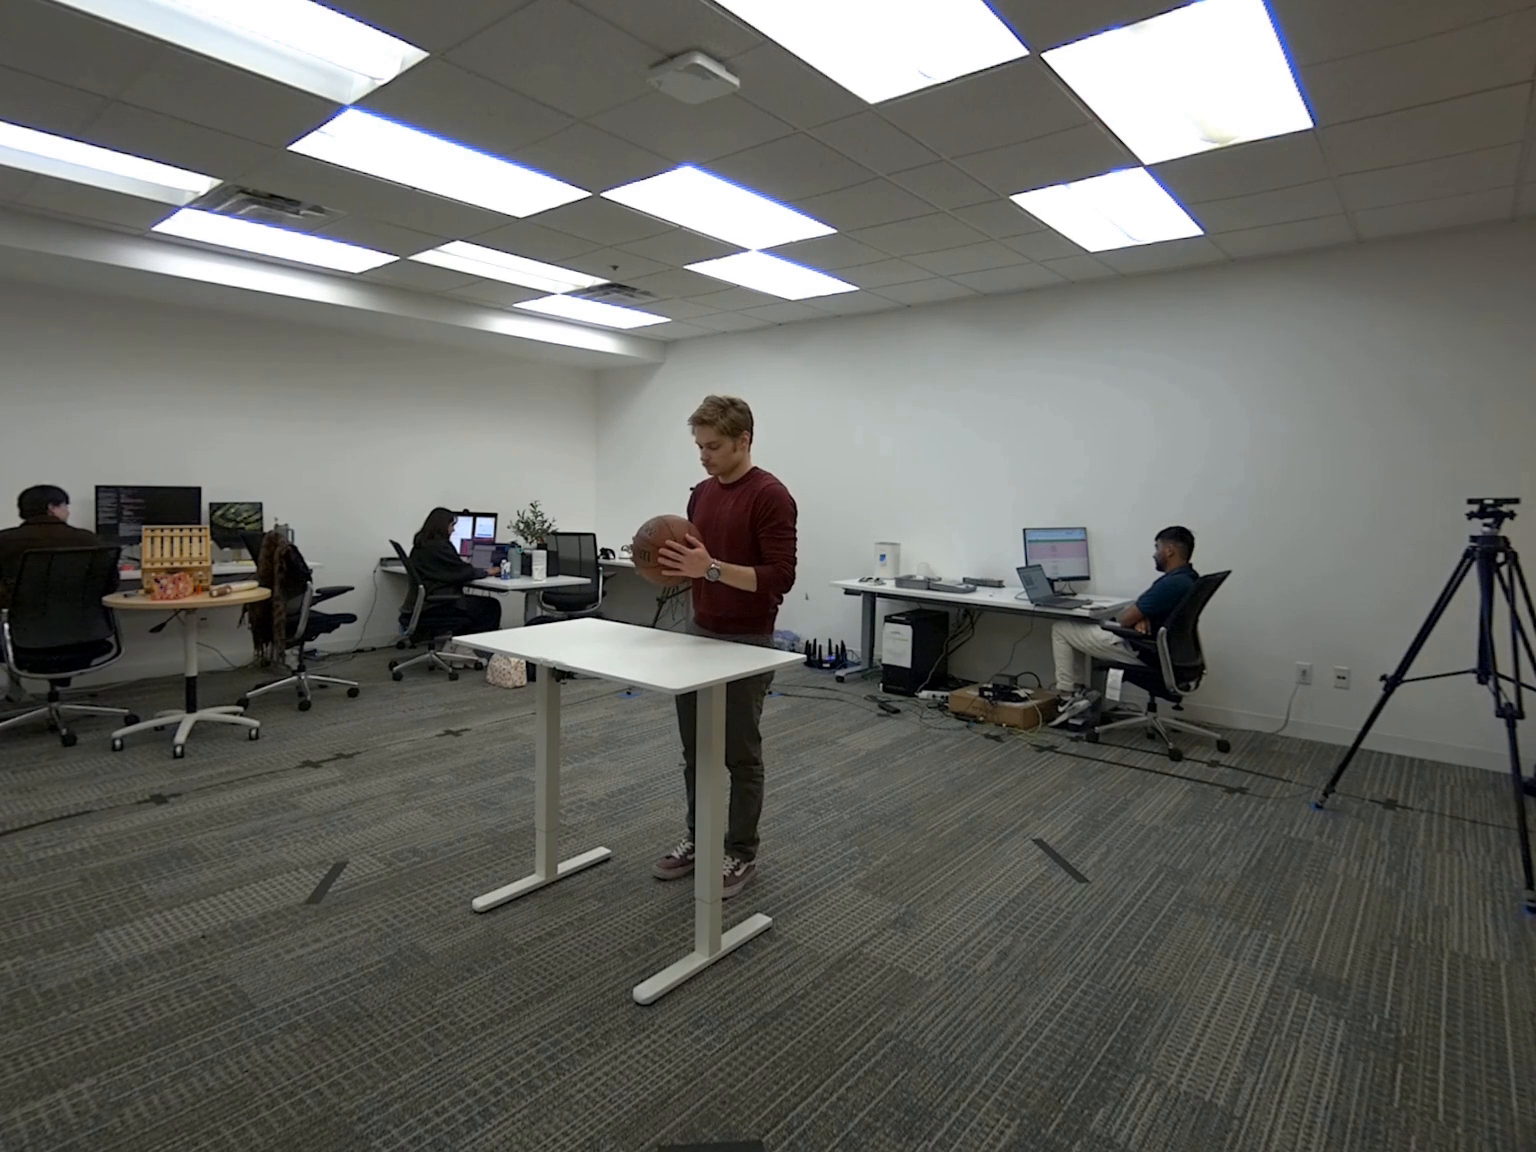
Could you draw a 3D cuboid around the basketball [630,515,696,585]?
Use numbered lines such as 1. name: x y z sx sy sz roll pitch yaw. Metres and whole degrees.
1. basketball: -0.333 -0.085 2.818 0.235 0.235 0.237 1 4 -2
